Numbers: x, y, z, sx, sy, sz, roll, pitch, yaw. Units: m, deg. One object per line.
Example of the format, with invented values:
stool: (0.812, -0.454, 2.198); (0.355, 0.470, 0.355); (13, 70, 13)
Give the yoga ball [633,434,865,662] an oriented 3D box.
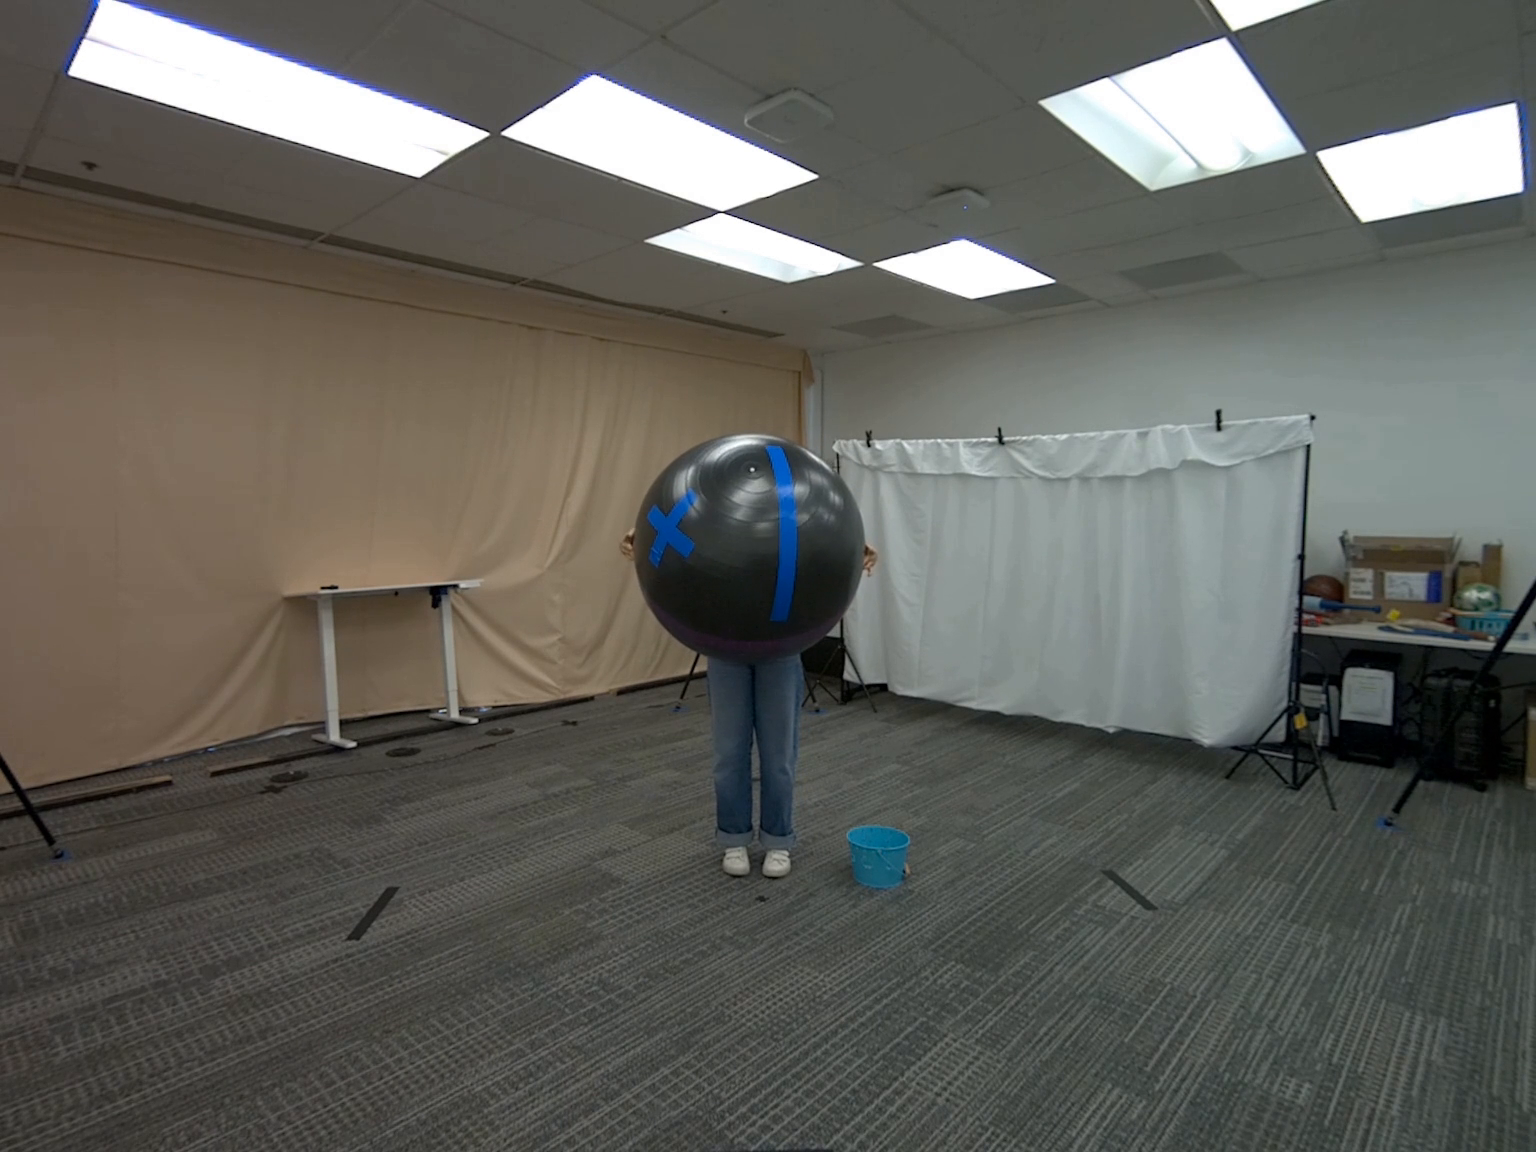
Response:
yoga ball: (-0.064, -0.088, 2.759); (0.757, 0.756, 0.760); (0, 4, -2)
